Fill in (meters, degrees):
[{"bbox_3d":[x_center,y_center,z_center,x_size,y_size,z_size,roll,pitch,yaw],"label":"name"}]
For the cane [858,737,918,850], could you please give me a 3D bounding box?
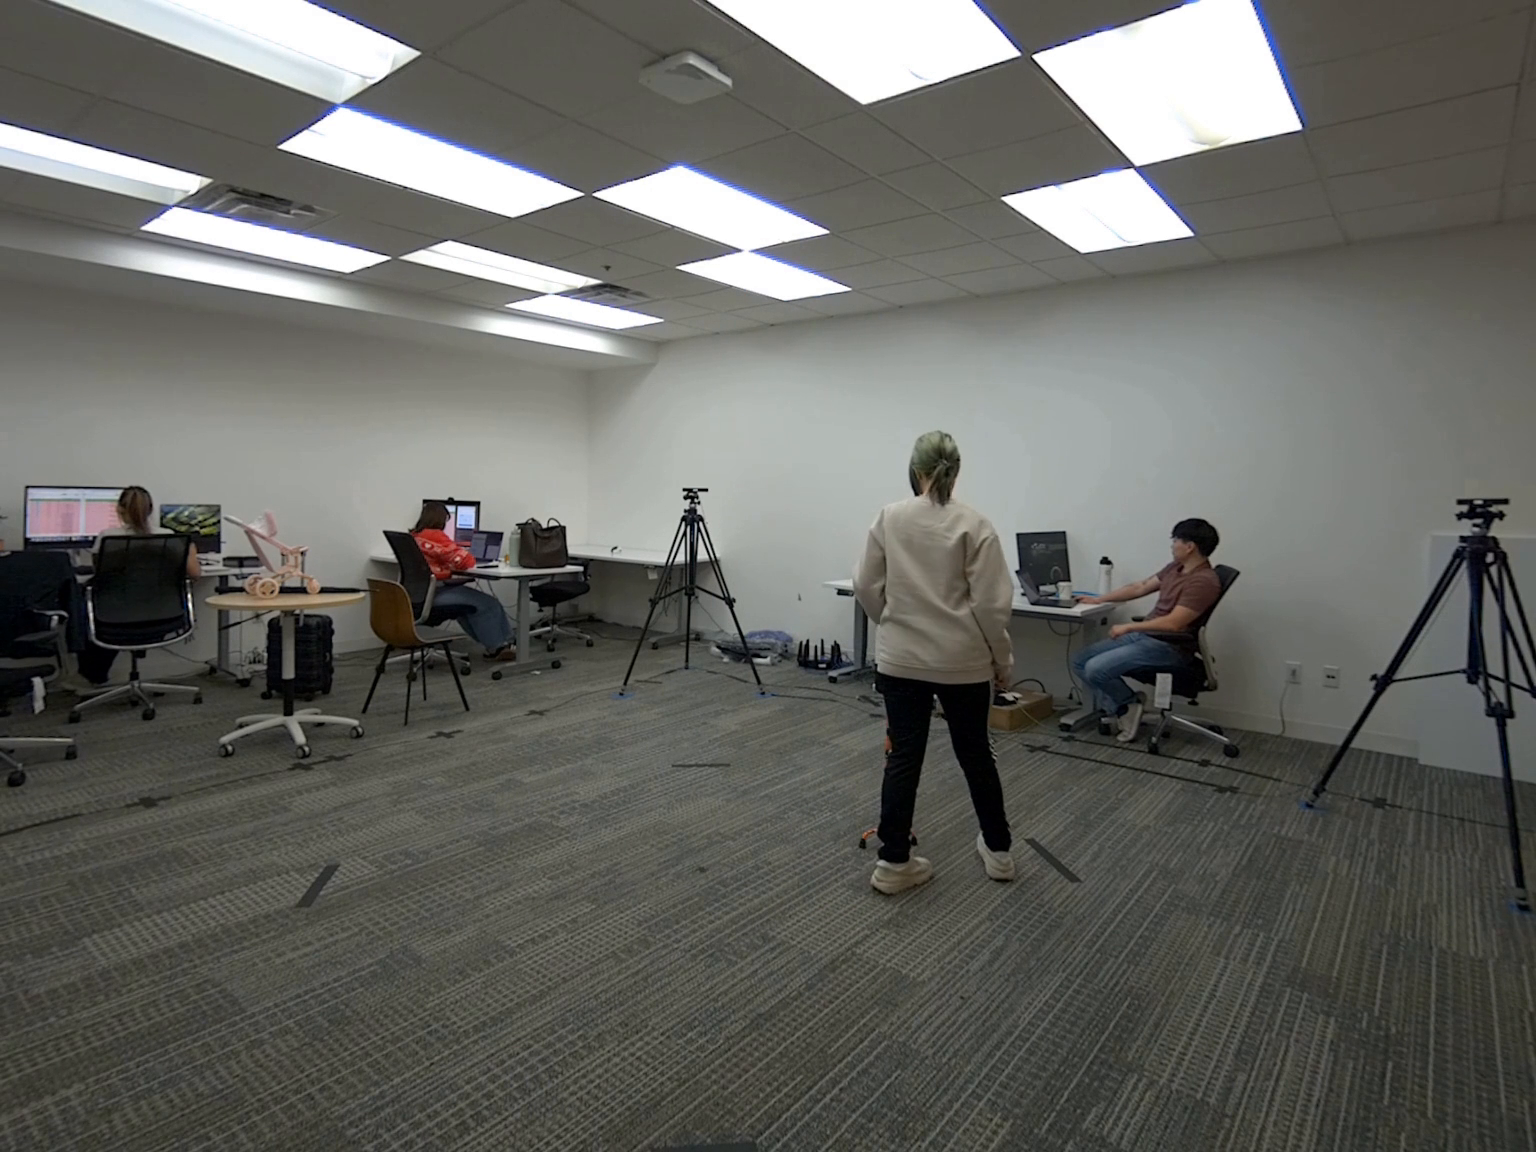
[{"bbox_3d":[0.478,0.600,3.335,0.200,0.906,0.157,0,3,-45],"label":"cane"}]
